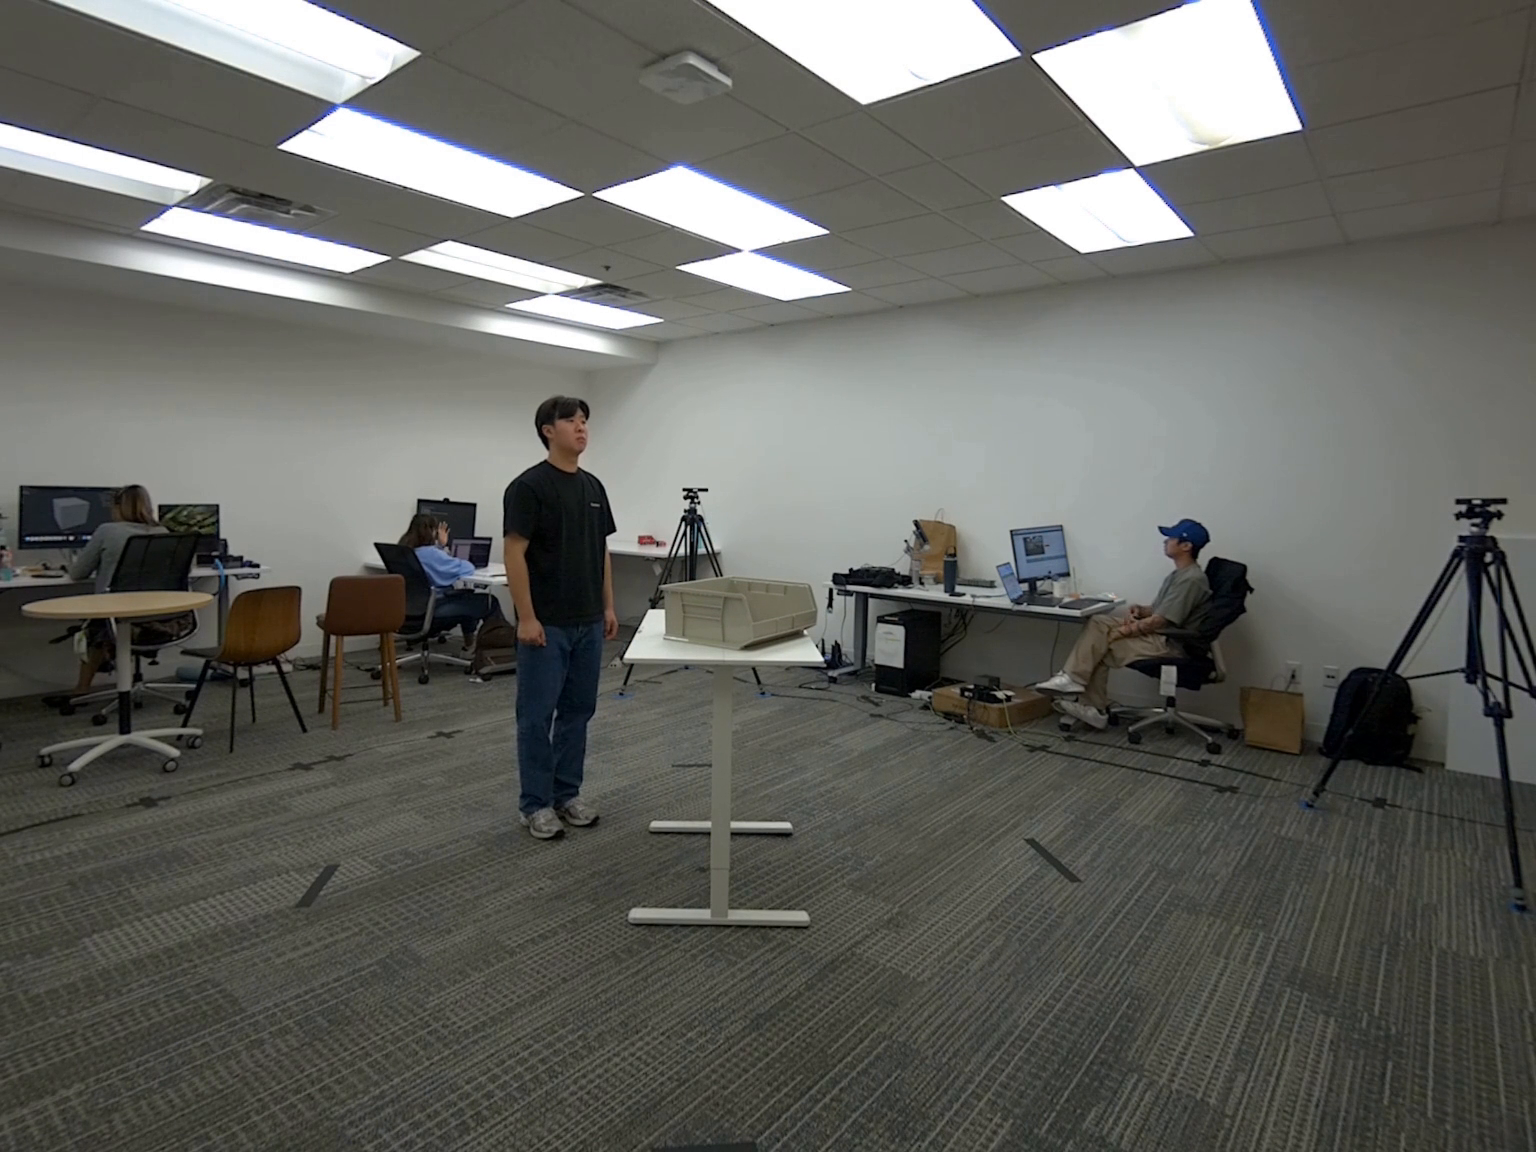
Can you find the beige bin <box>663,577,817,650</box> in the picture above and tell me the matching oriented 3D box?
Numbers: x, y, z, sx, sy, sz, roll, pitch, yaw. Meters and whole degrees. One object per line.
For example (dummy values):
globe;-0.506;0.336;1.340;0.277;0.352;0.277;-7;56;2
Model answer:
beige bin;-0.102;0.121;2.916;0.389;0.188;0.411;3;6;34
